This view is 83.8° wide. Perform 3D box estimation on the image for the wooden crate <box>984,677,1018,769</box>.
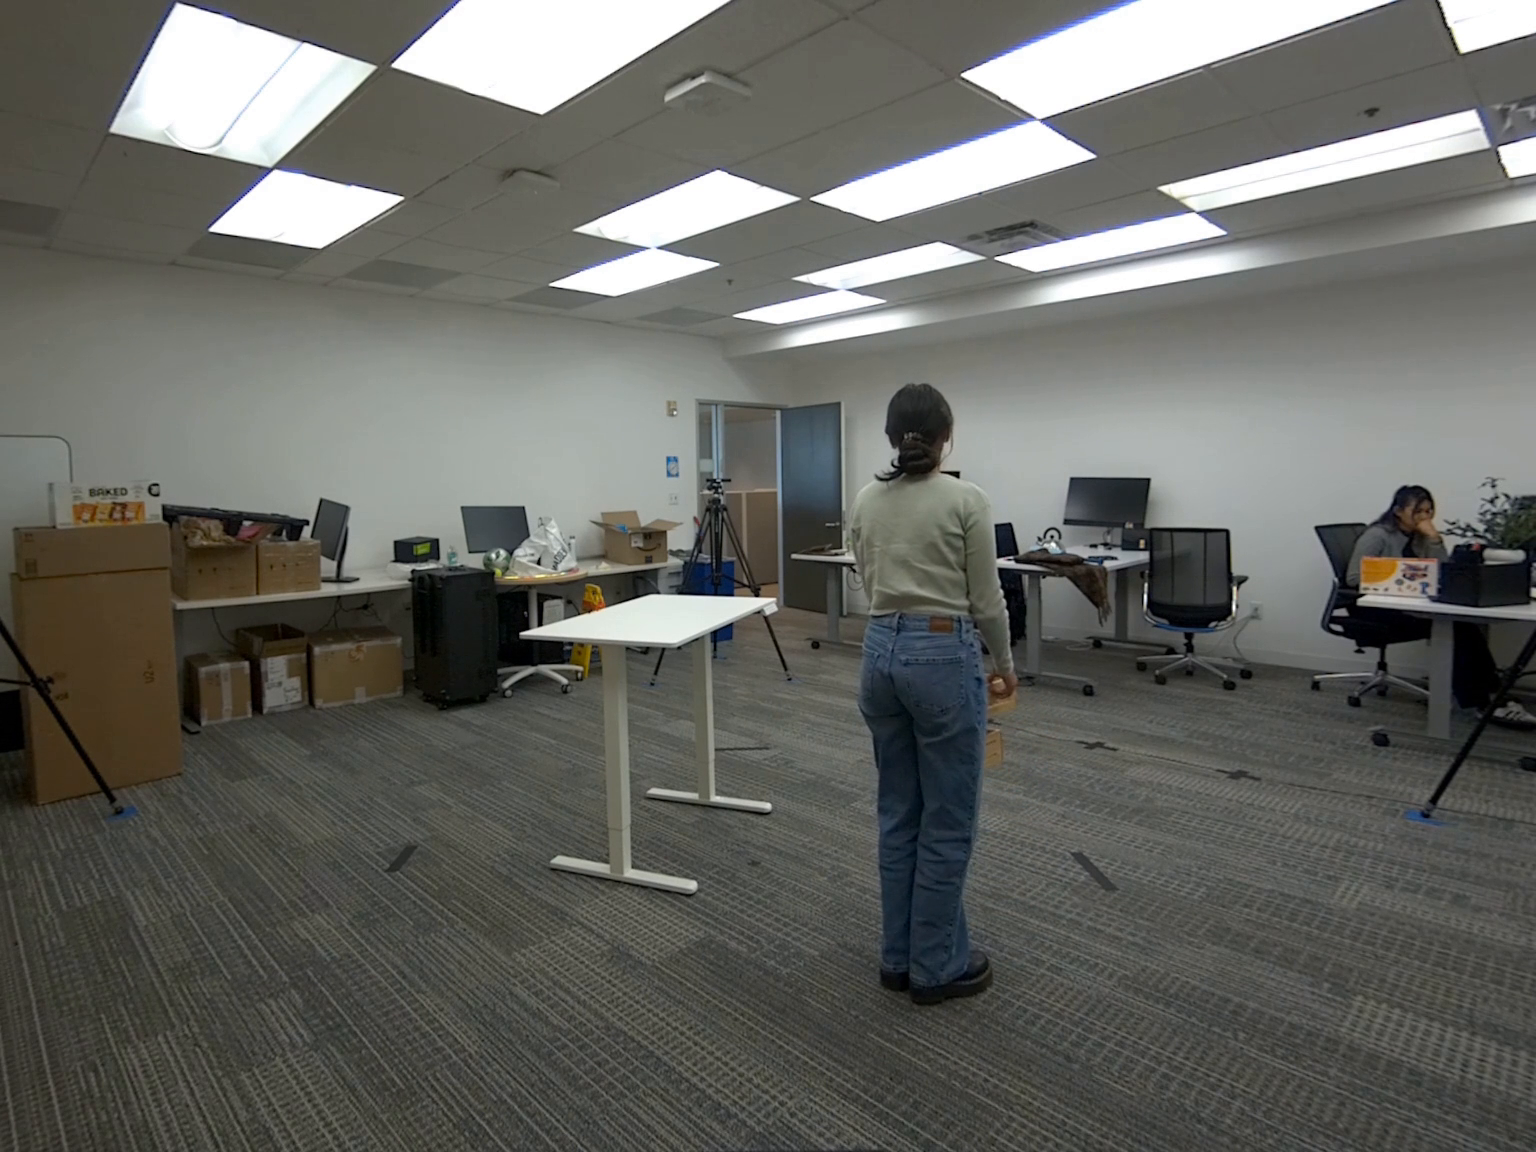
[{"bbox_3d":[0.578,0.442,2.573,0.310,0.273,0.316,-1,0,35],"label":"wooden crate"}]
